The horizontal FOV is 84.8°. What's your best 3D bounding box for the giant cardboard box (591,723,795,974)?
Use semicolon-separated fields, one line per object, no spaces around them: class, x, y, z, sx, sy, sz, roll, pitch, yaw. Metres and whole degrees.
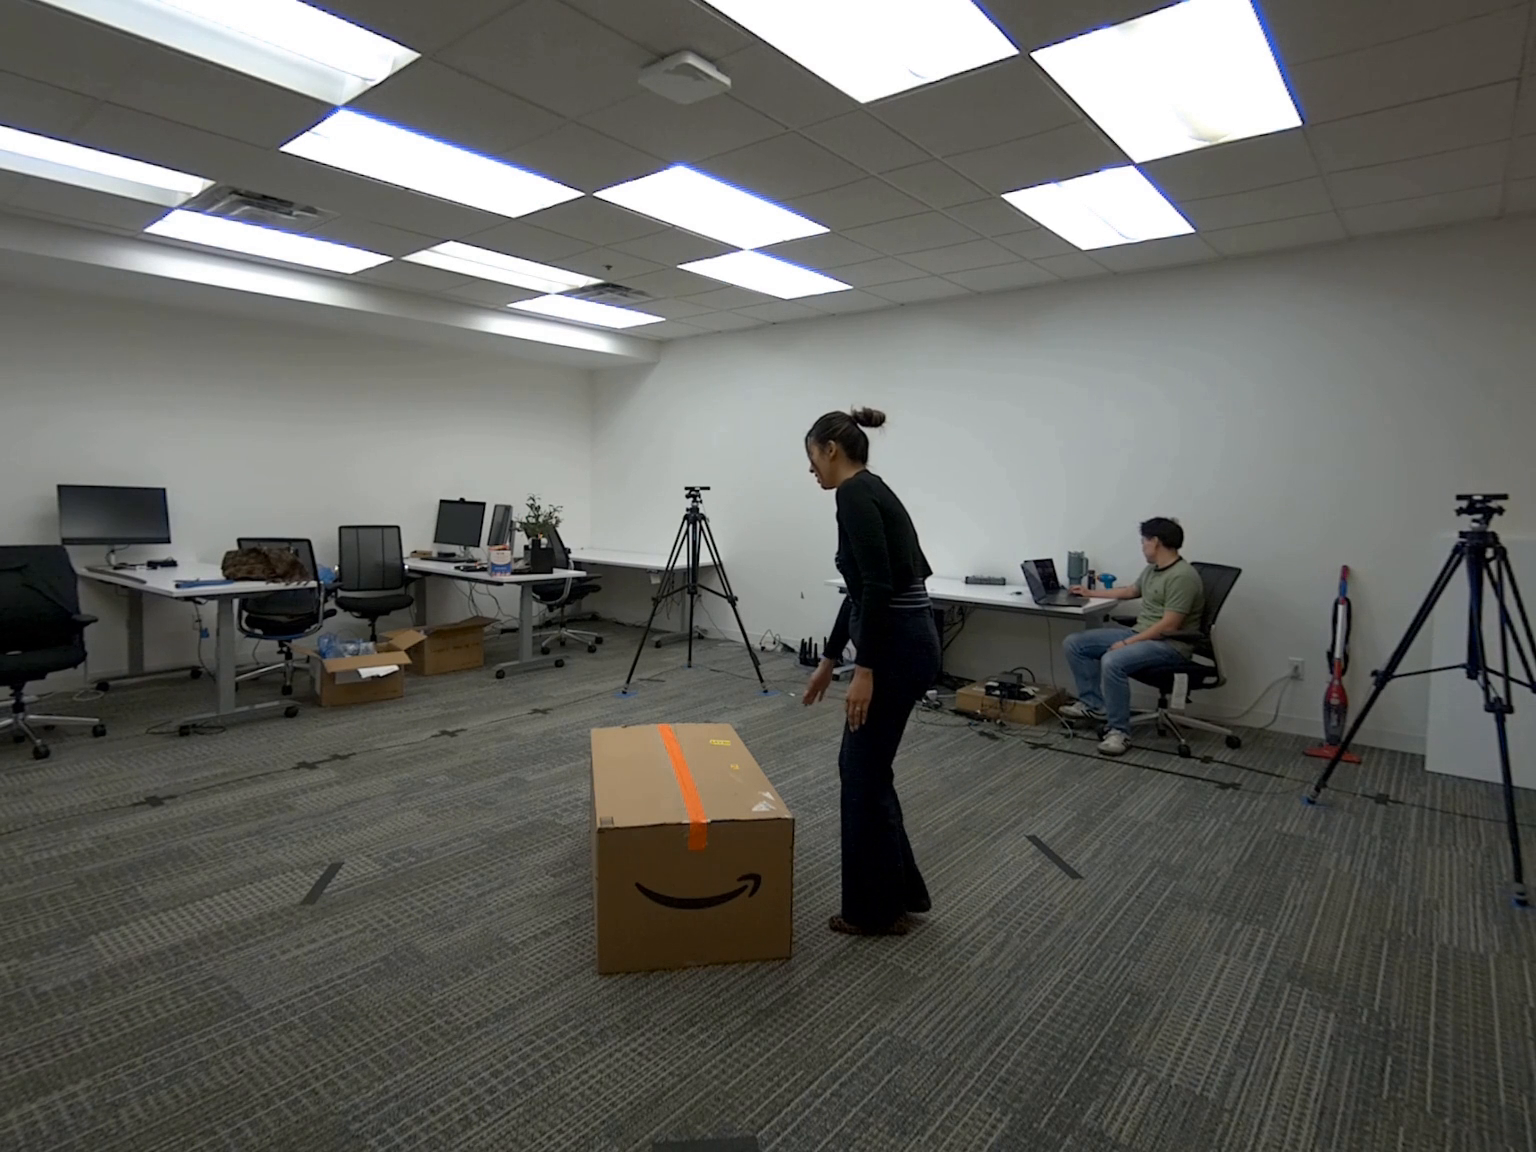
giant cardboard box;-0.331;0.861;2.952;0.570;0.424;1.042;0;5;-12
